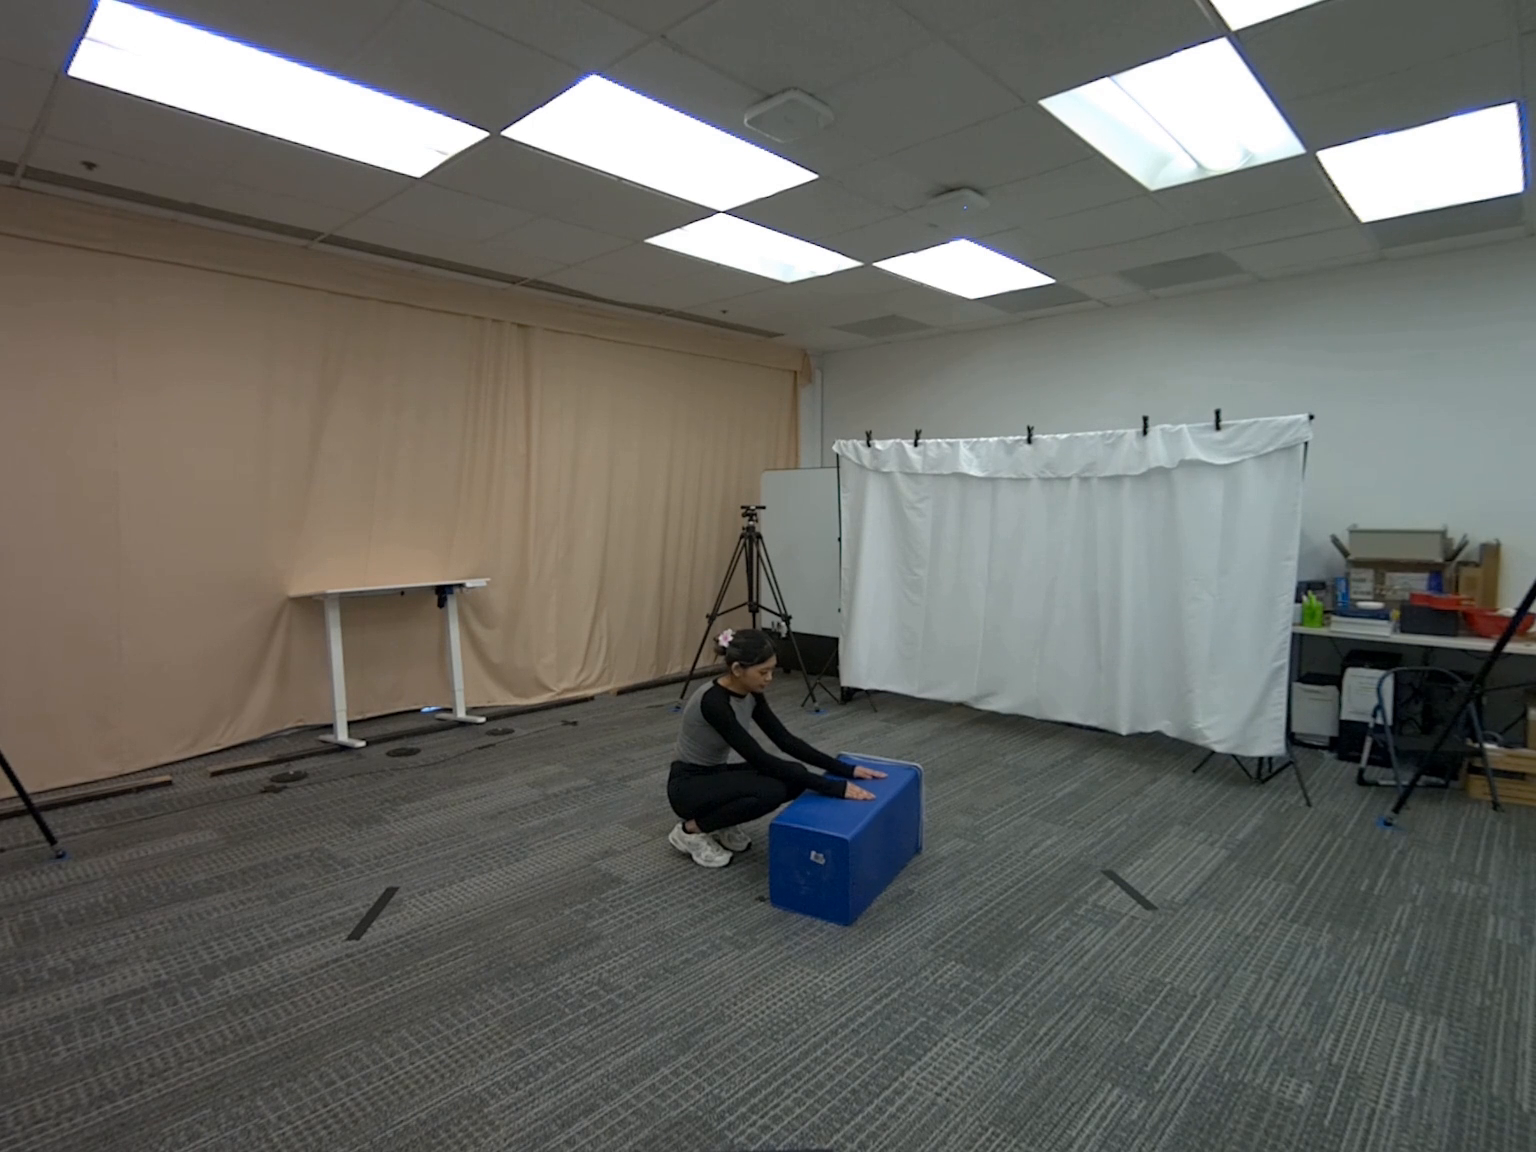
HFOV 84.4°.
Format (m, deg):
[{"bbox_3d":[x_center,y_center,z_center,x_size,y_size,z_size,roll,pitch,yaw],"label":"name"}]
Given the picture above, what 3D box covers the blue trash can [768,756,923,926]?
[{"bbox_3d":[0.297,0.960,3.143,0.385,0.376,0.696,3,8,28],"label":"blue trash can"}]
